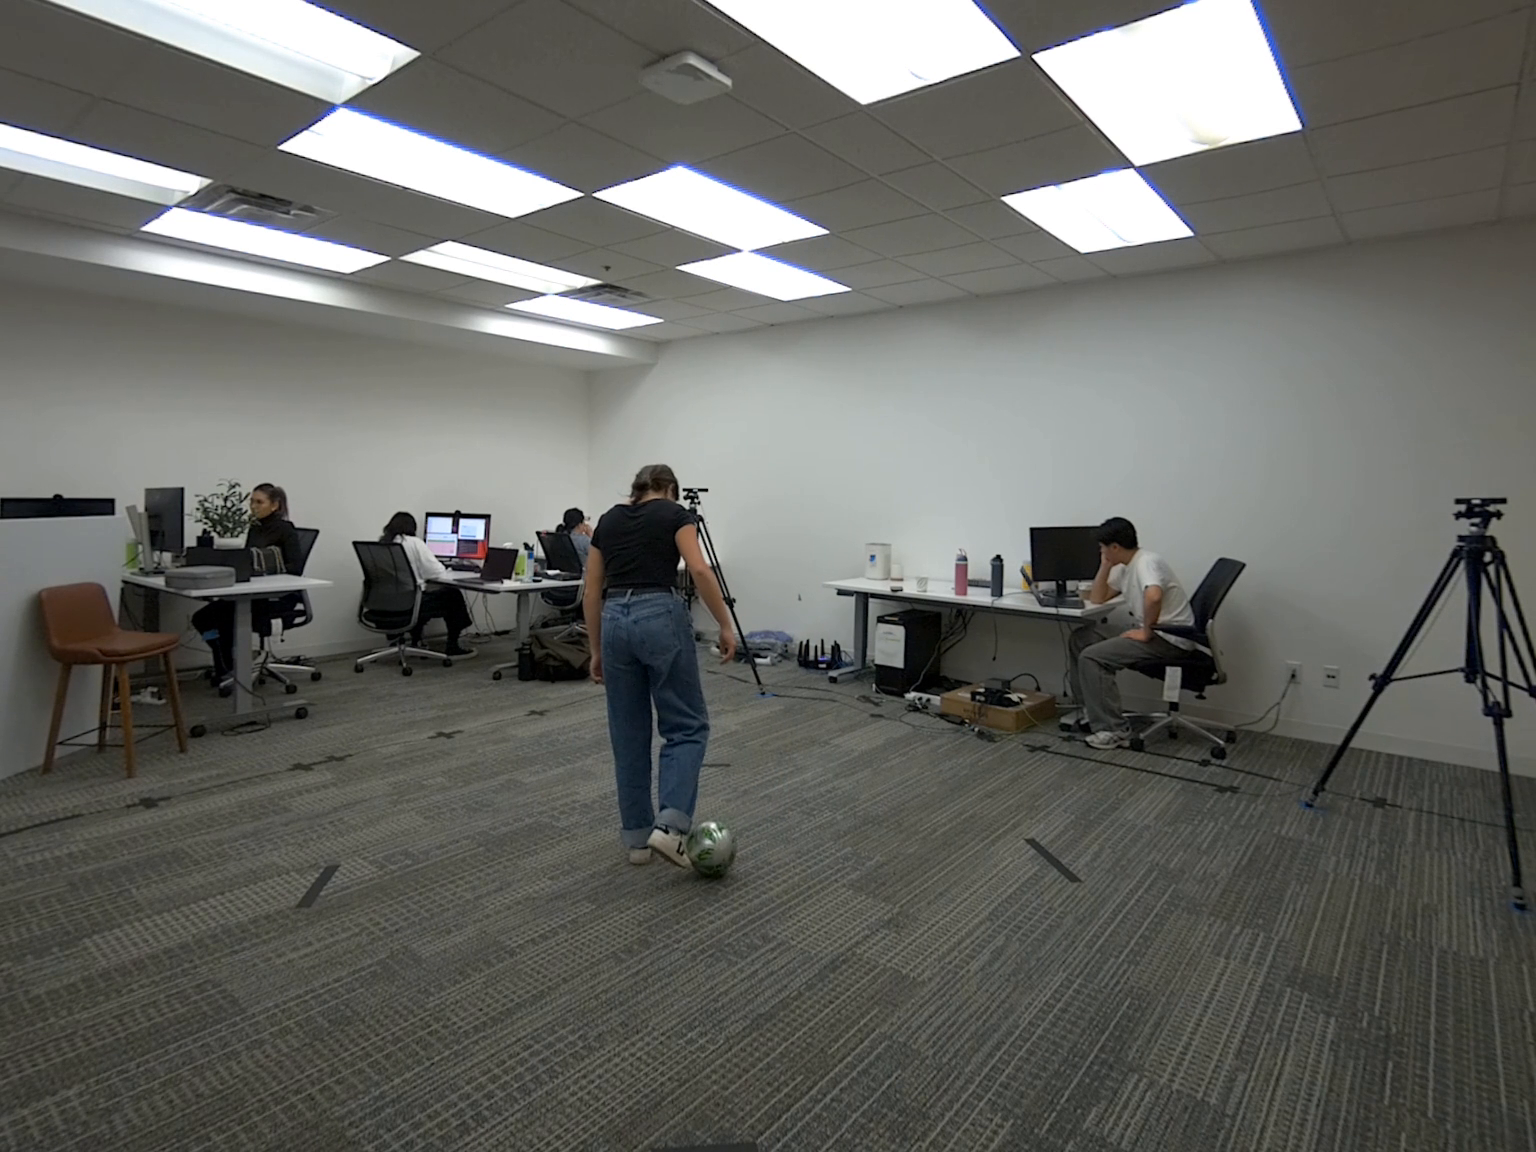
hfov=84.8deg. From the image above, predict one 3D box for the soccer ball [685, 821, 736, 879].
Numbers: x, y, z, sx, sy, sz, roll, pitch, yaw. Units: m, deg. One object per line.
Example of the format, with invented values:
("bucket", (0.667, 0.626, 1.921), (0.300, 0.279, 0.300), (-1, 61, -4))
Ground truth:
("soccer ball", (-0.188, 0.976, 3.082), (0.187, 0.187, 0.188), (1, 4, -2))
